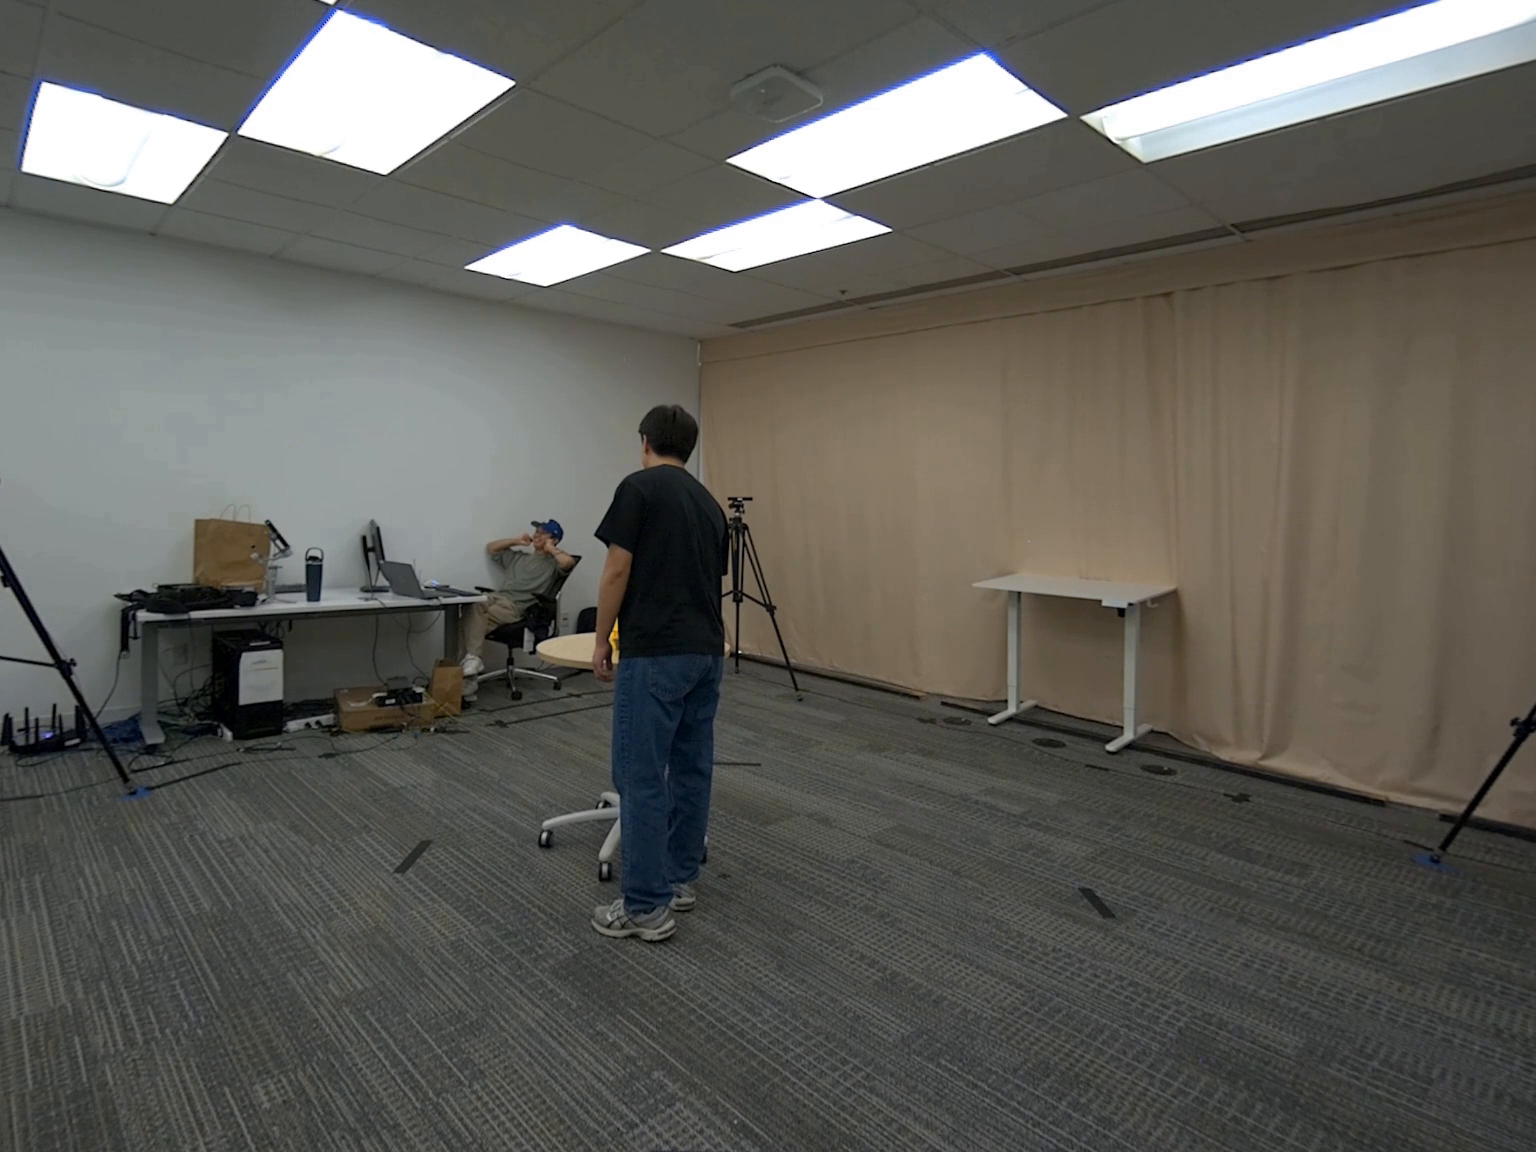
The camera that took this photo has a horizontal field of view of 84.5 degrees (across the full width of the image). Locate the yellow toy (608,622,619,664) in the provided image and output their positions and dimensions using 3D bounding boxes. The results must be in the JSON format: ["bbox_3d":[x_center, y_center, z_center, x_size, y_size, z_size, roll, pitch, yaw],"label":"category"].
[{"bbox_3d":[-0.542,0.171,3.301,0.208,0.230,0.190,3,4,22],"label":"yellow toy"}]
